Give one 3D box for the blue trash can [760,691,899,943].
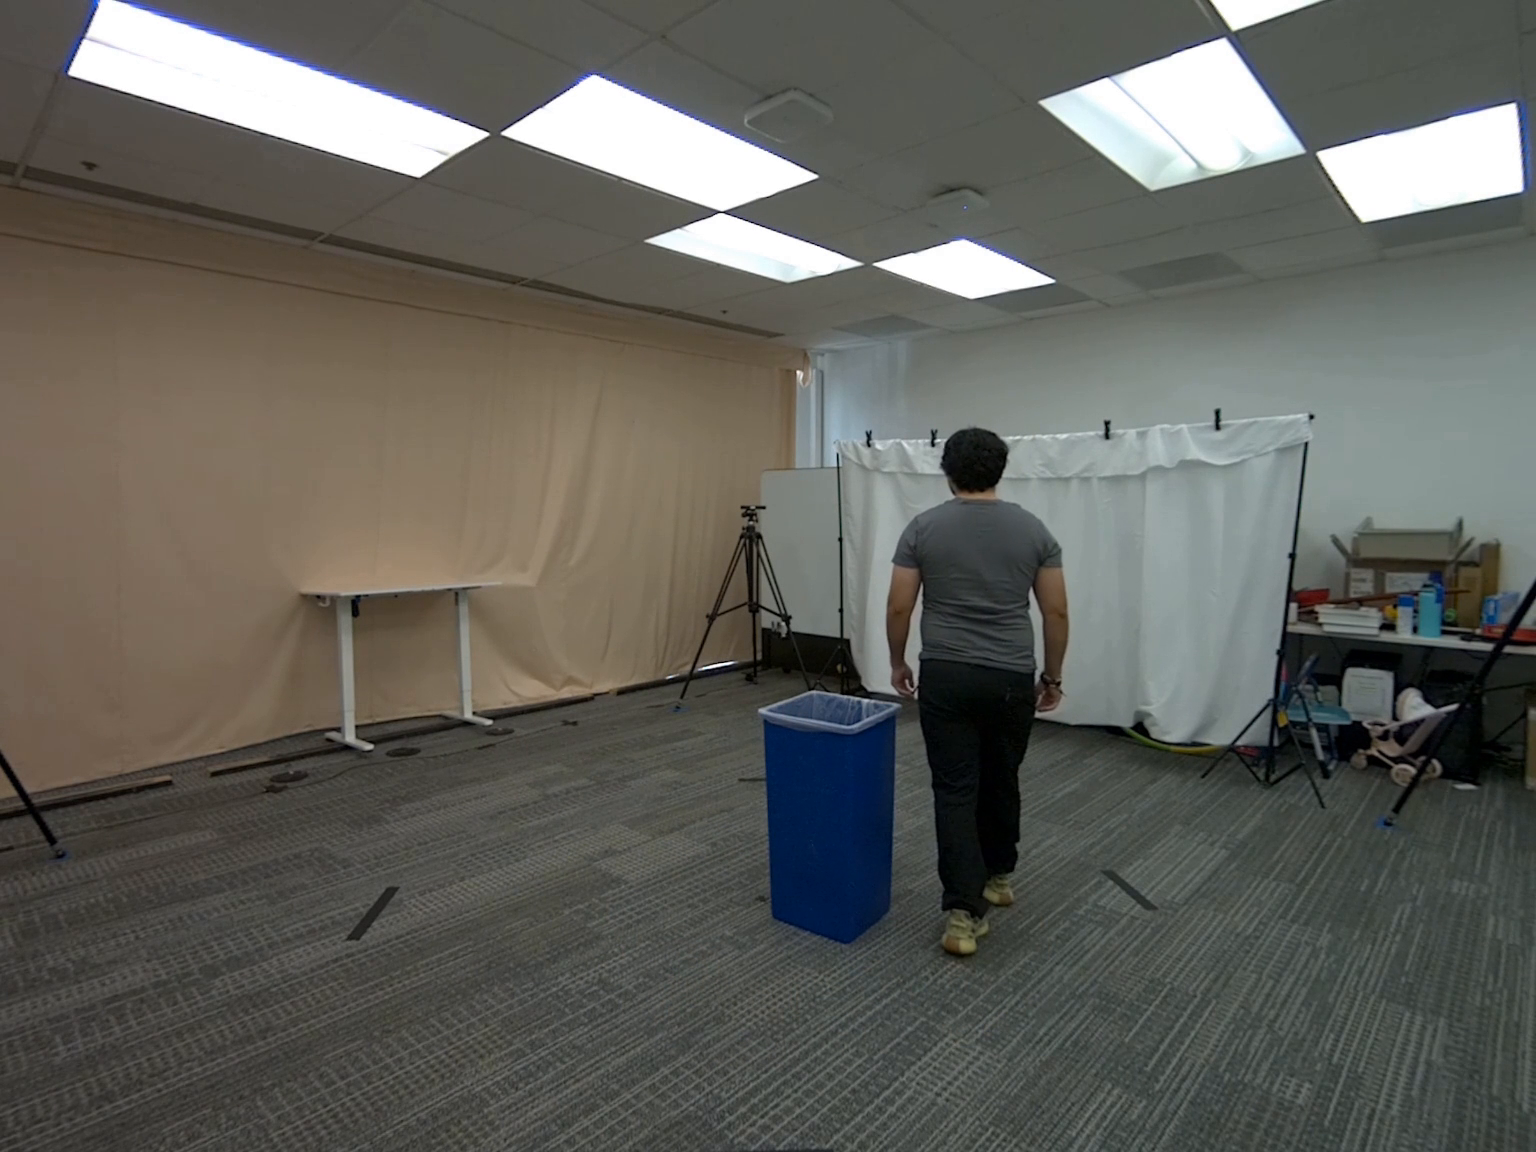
[{"bbox_3d":[0.214,0.798,2.848,0.390,0.712,0.363,2,4,36],"label":"blue trash can"}]
